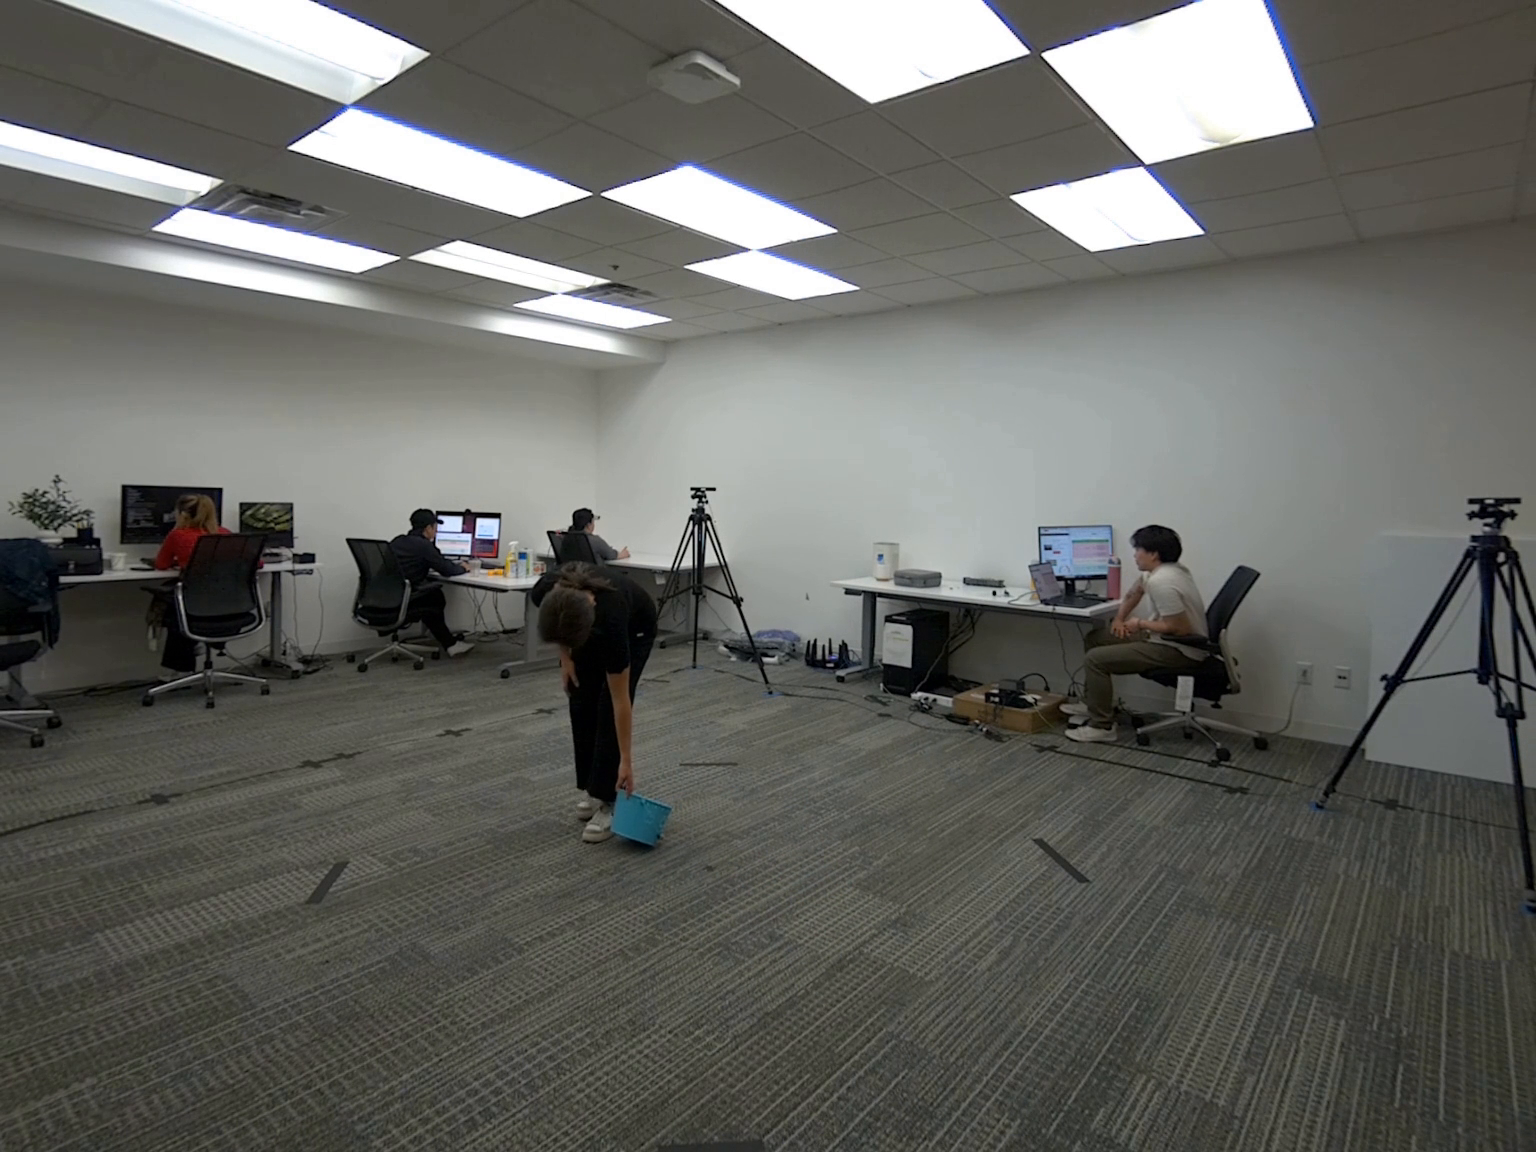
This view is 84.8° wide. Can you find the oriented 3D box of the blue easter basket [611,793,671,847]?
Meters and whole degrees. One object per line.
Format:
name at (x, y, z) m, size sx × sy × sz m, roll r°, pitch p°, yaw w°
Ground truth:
blue easter basket at (-0.508, 0.936, 3.306) m, size 0.245 × 0.157 × 0.240 m, roll 17°, pitch -14°, yaw 2°
